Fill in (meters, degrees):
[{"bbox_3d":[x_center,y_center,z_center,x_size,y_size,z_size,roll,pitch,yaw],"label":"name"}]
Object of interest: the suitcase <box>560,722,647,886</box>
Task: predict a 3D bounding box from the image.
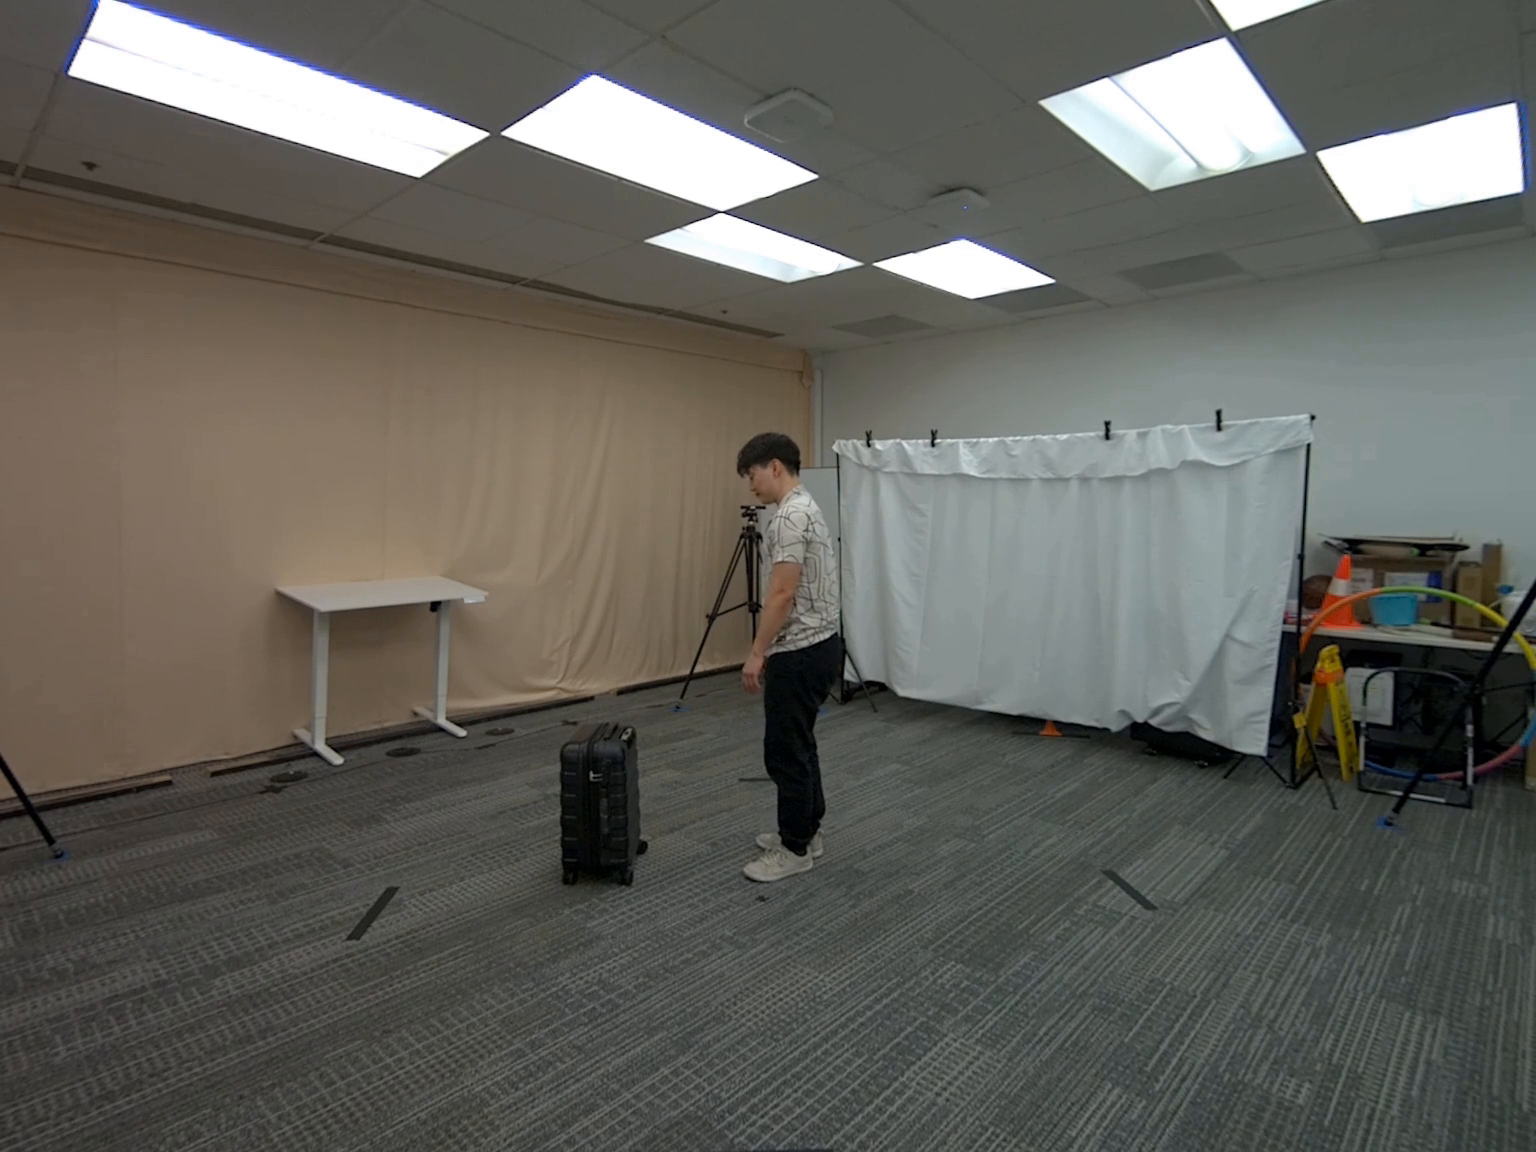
[{"bbox_3d":[-0.633,0.858,3.226,0.249,0.548,0.375,-1,4,2],"label":"suitcase"}]
